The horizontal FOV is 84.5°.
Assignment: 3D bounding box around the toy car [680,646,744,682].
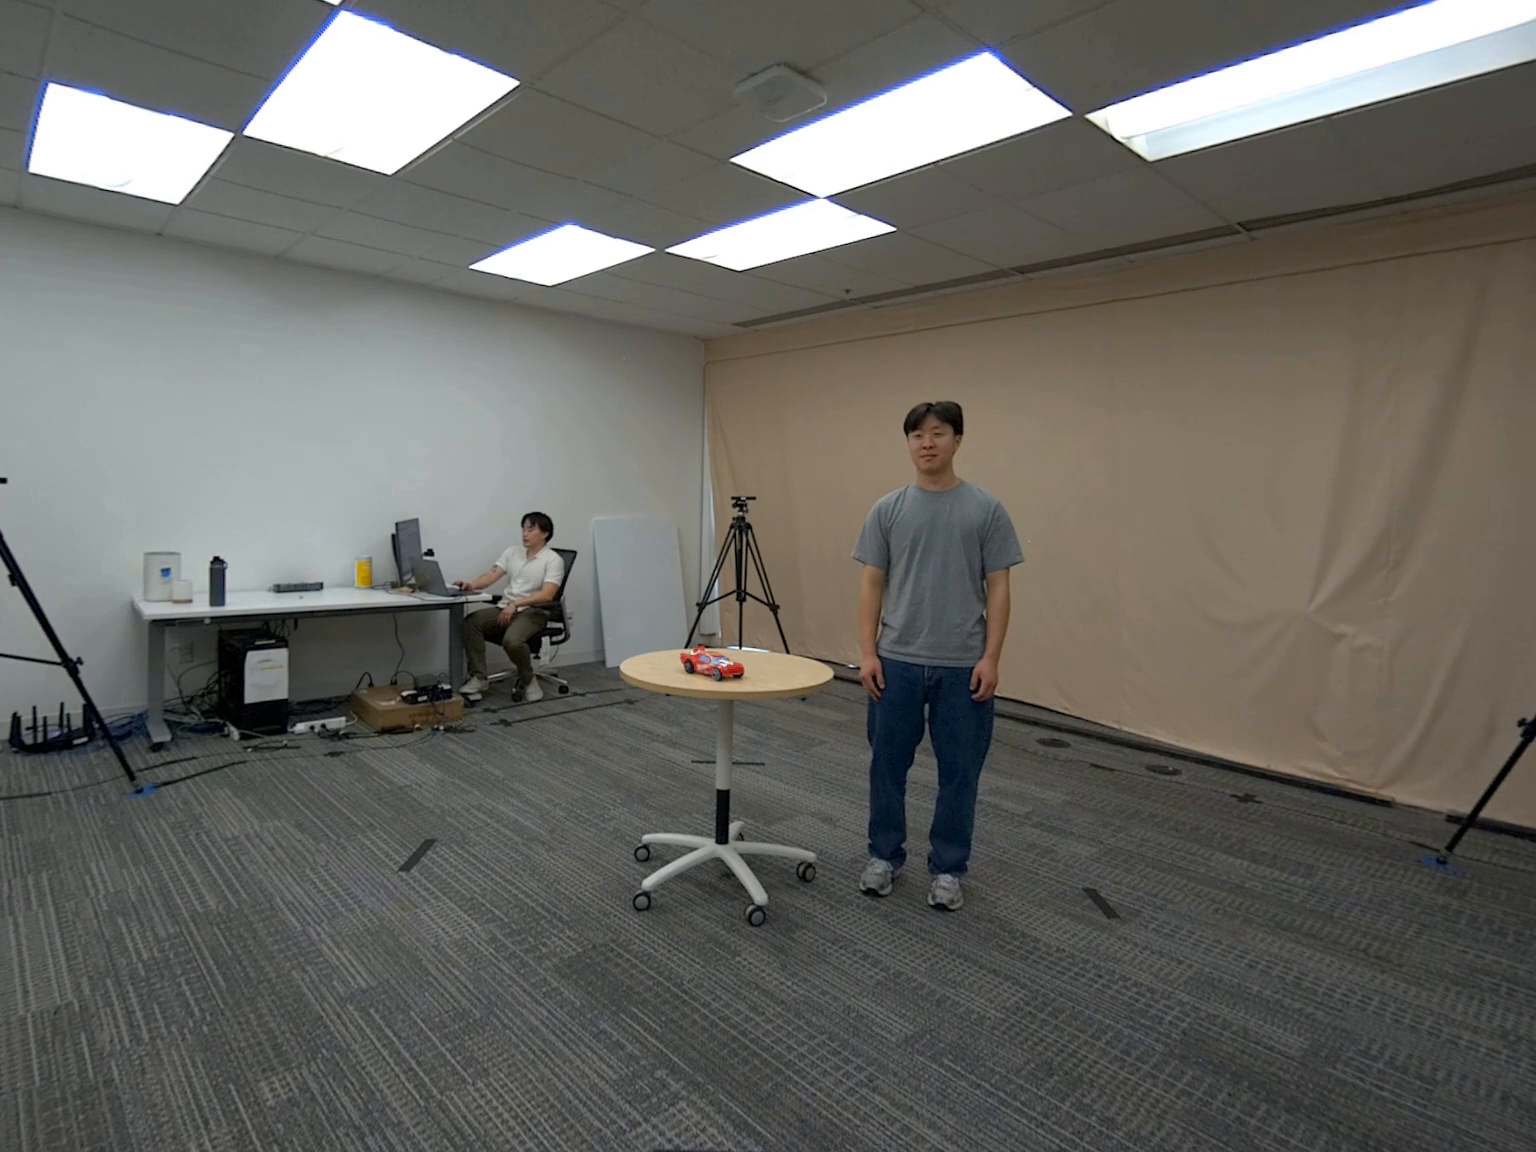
[{"bbox_3d":[-0.202,0.307,2.895,0.127,0.082,0.262,-3,17,-42],"label":"toy car"}]
